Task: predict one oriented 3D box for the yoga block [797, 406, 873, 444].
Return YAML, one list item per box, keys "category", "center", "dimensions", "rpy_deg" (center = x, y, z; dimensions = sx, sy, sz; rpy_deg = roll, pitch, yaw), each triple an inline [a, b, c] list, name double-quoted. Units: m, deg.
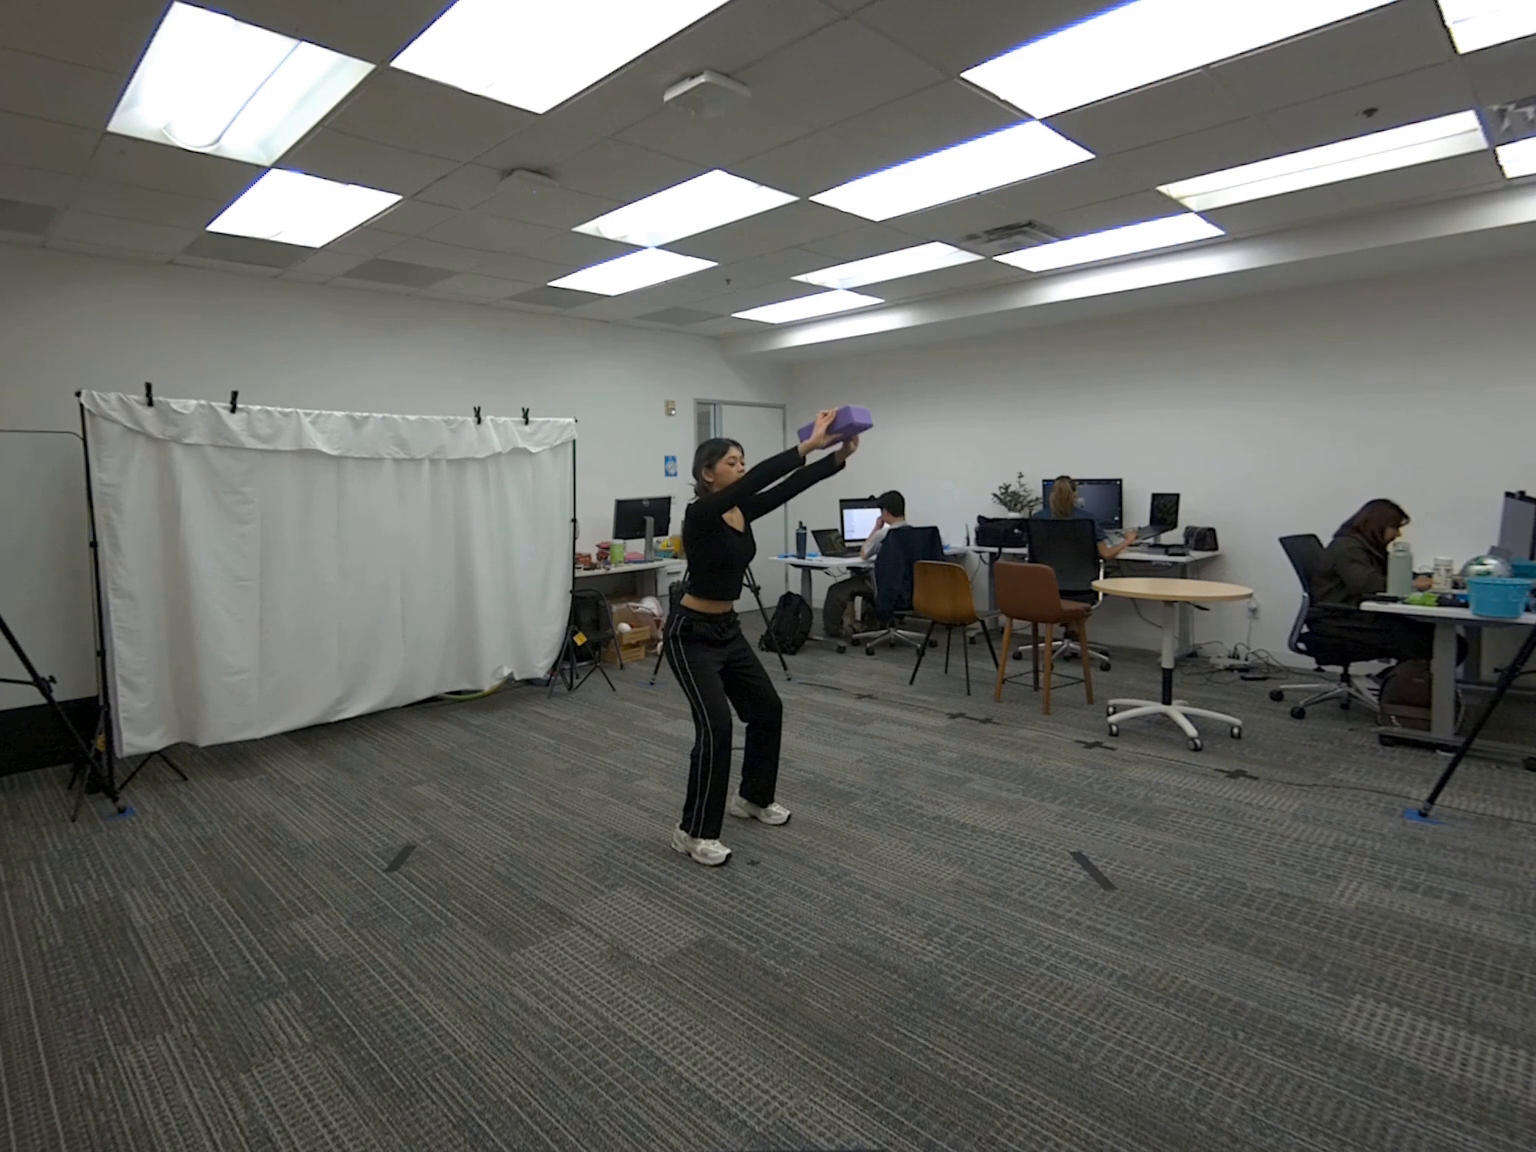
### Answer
- category: "yoga block"
  center: [0.241, -0.524, 3.020]
  dimensions: [0.233, 0.077, 0.145]
  rpy_deg: [-18, -6, 34]
